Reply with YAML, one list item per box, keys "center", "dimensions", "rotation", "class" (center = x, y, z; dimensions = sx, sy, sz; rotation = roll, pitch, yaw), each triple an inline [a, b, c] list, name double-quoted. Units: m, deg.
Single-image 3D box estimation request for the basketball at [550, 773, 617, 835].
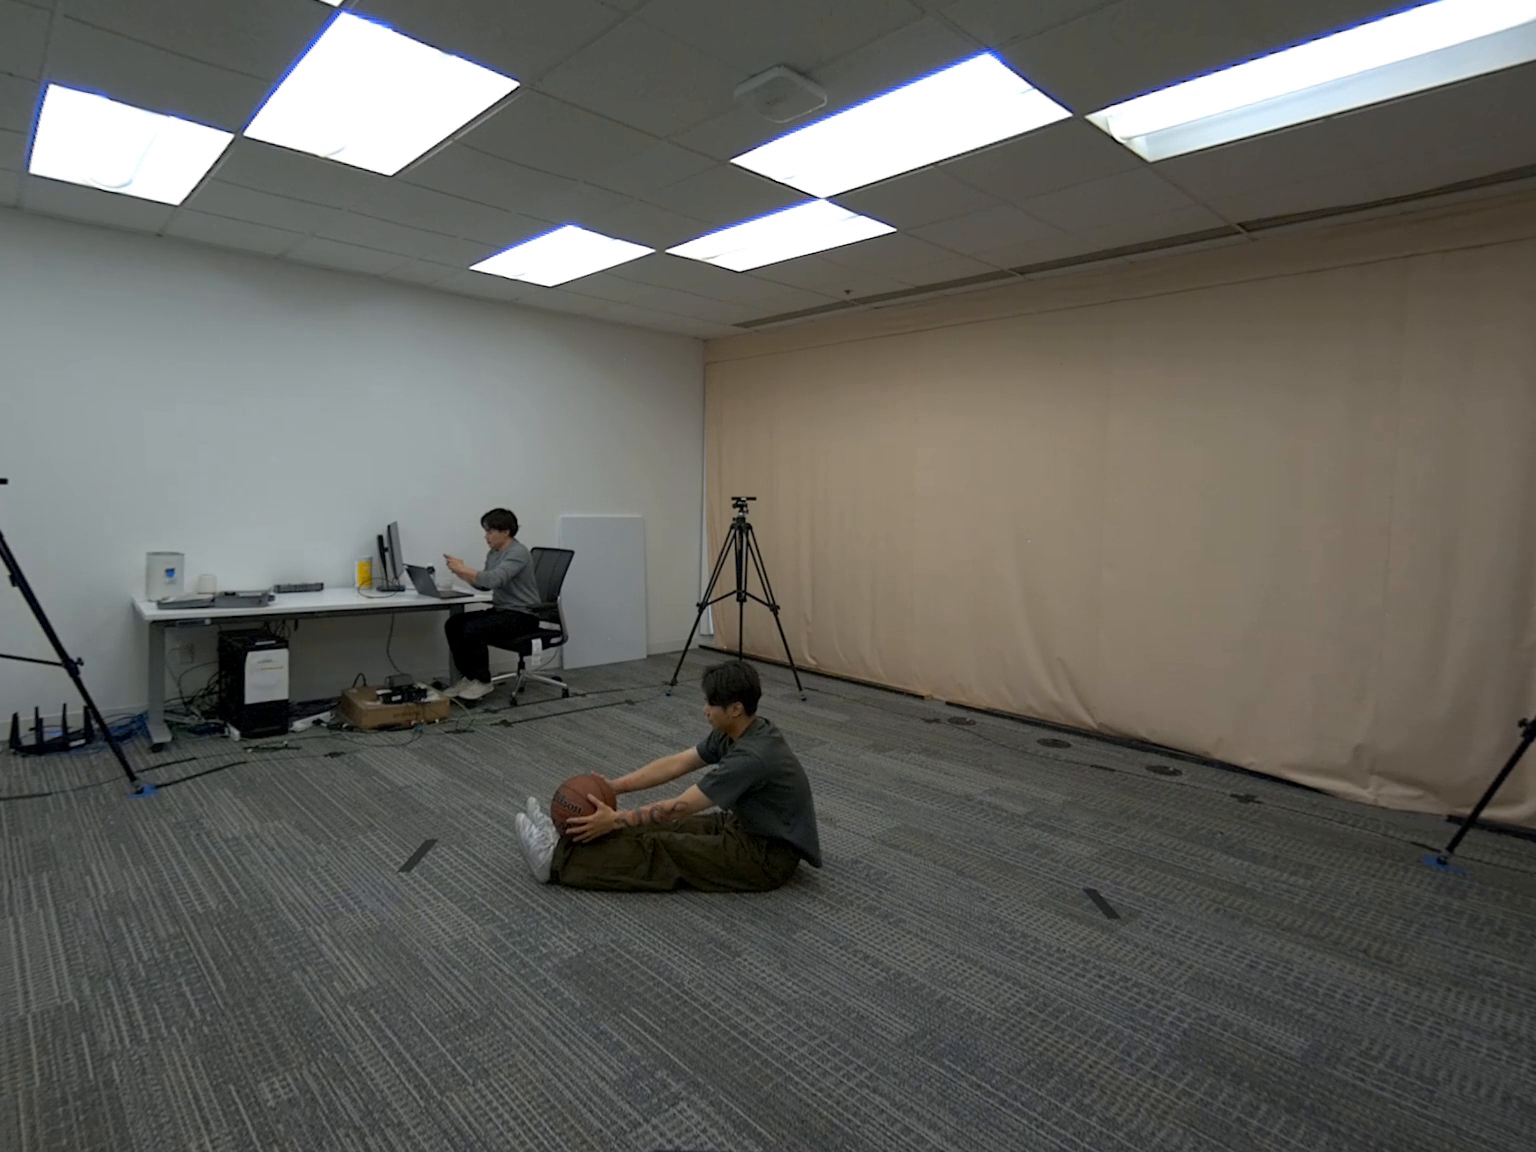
- center: [-0.674, 0.844, 3.053]
  dimensions: [0.236, 0.235, 0.237]
  rotation: [1, 4, -1]
  class: "basketball"
